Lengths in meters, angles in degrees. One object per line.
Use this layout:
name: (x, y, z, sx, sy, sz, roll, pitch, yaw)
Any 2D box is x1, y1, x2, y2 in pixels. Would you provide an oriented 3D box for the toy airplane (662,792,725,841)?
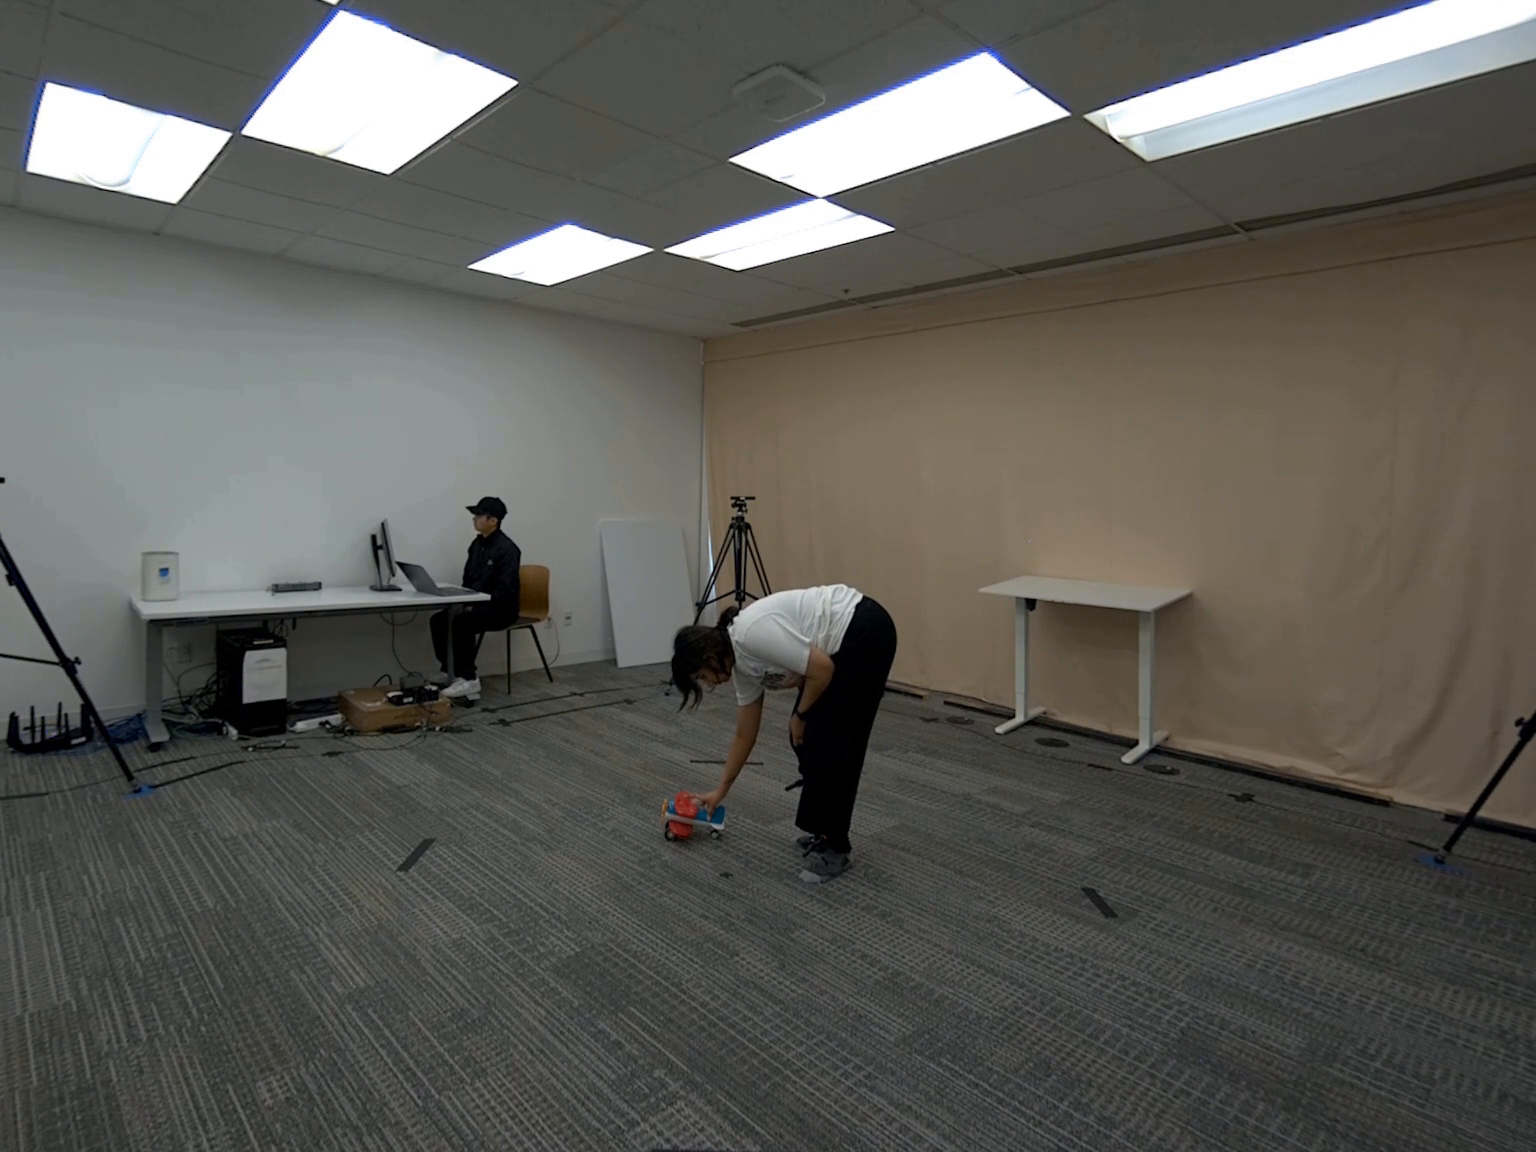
toy airplane: (-0.313, 0.991, 3.467, 0.254, 0.156, 0.256, -1, 3, -30)
